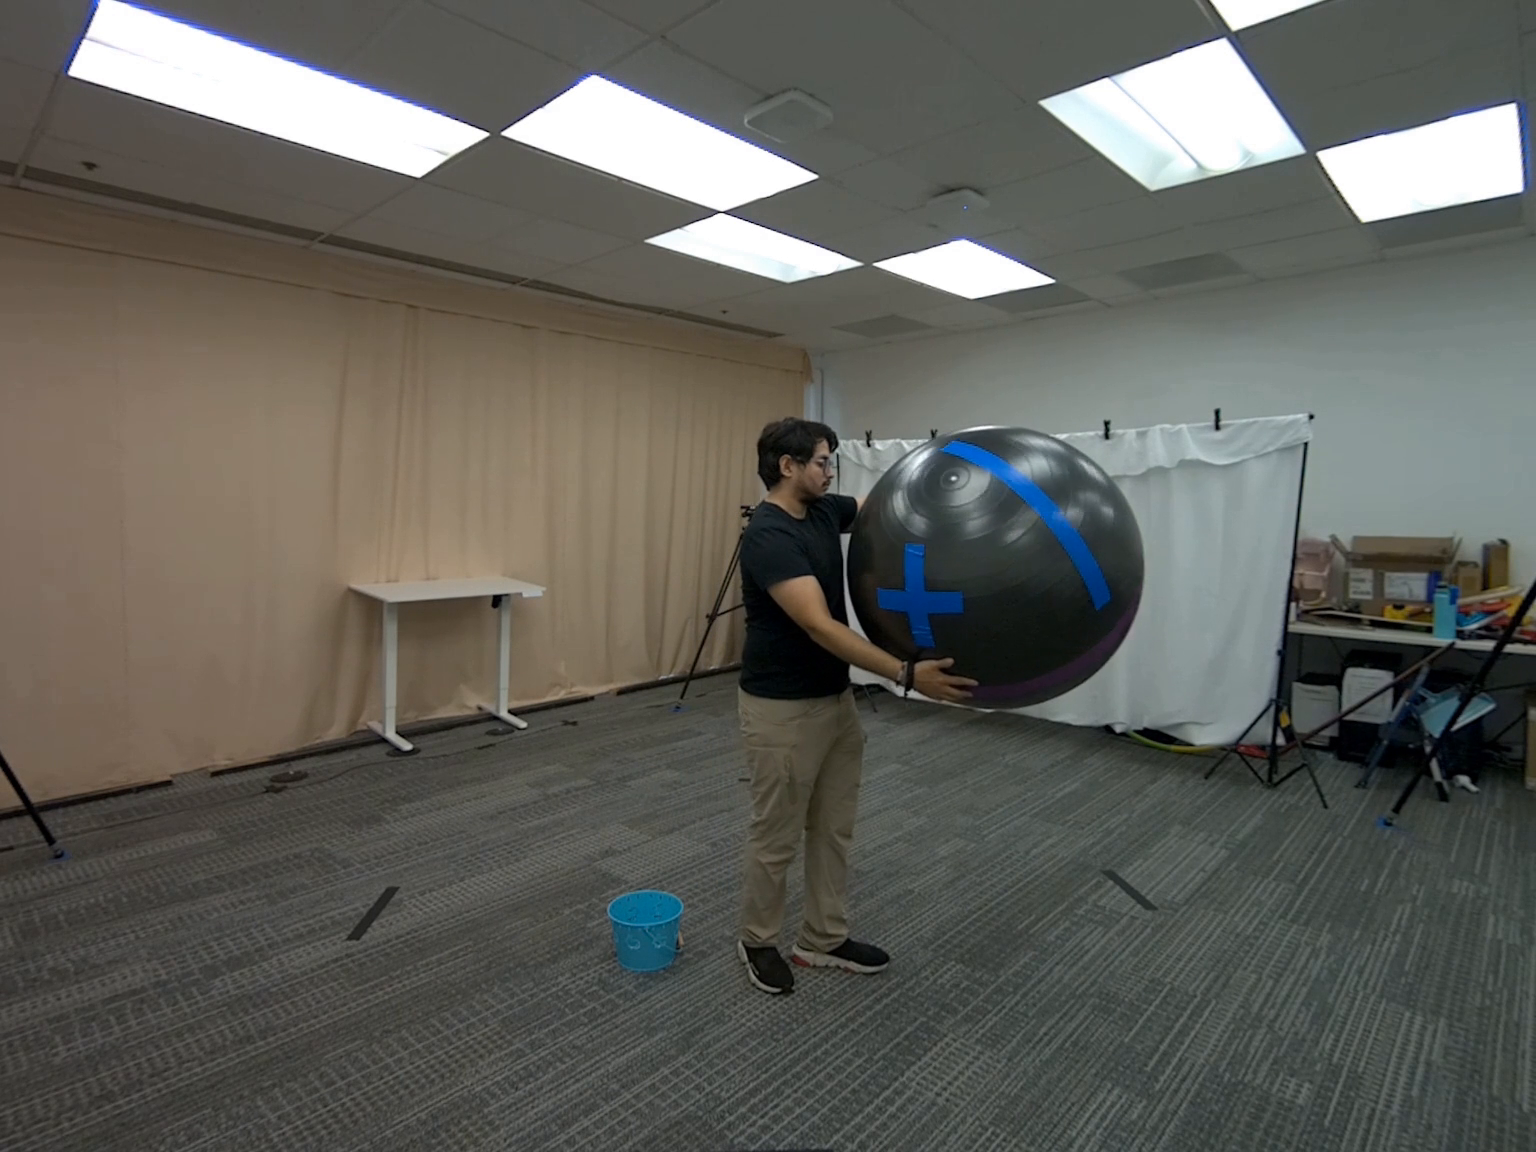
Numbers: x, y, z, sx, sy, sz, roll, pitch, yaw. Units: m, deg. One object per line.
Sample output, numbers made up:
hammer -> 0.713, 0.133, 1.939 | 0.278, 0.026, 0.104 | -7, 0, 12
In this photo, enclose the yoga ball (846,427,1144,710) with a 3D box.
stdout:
yoga ball -> 0.615, -0.015, 2.267 | 0.757, 0.756, 0.760 | 0, 4, -2
